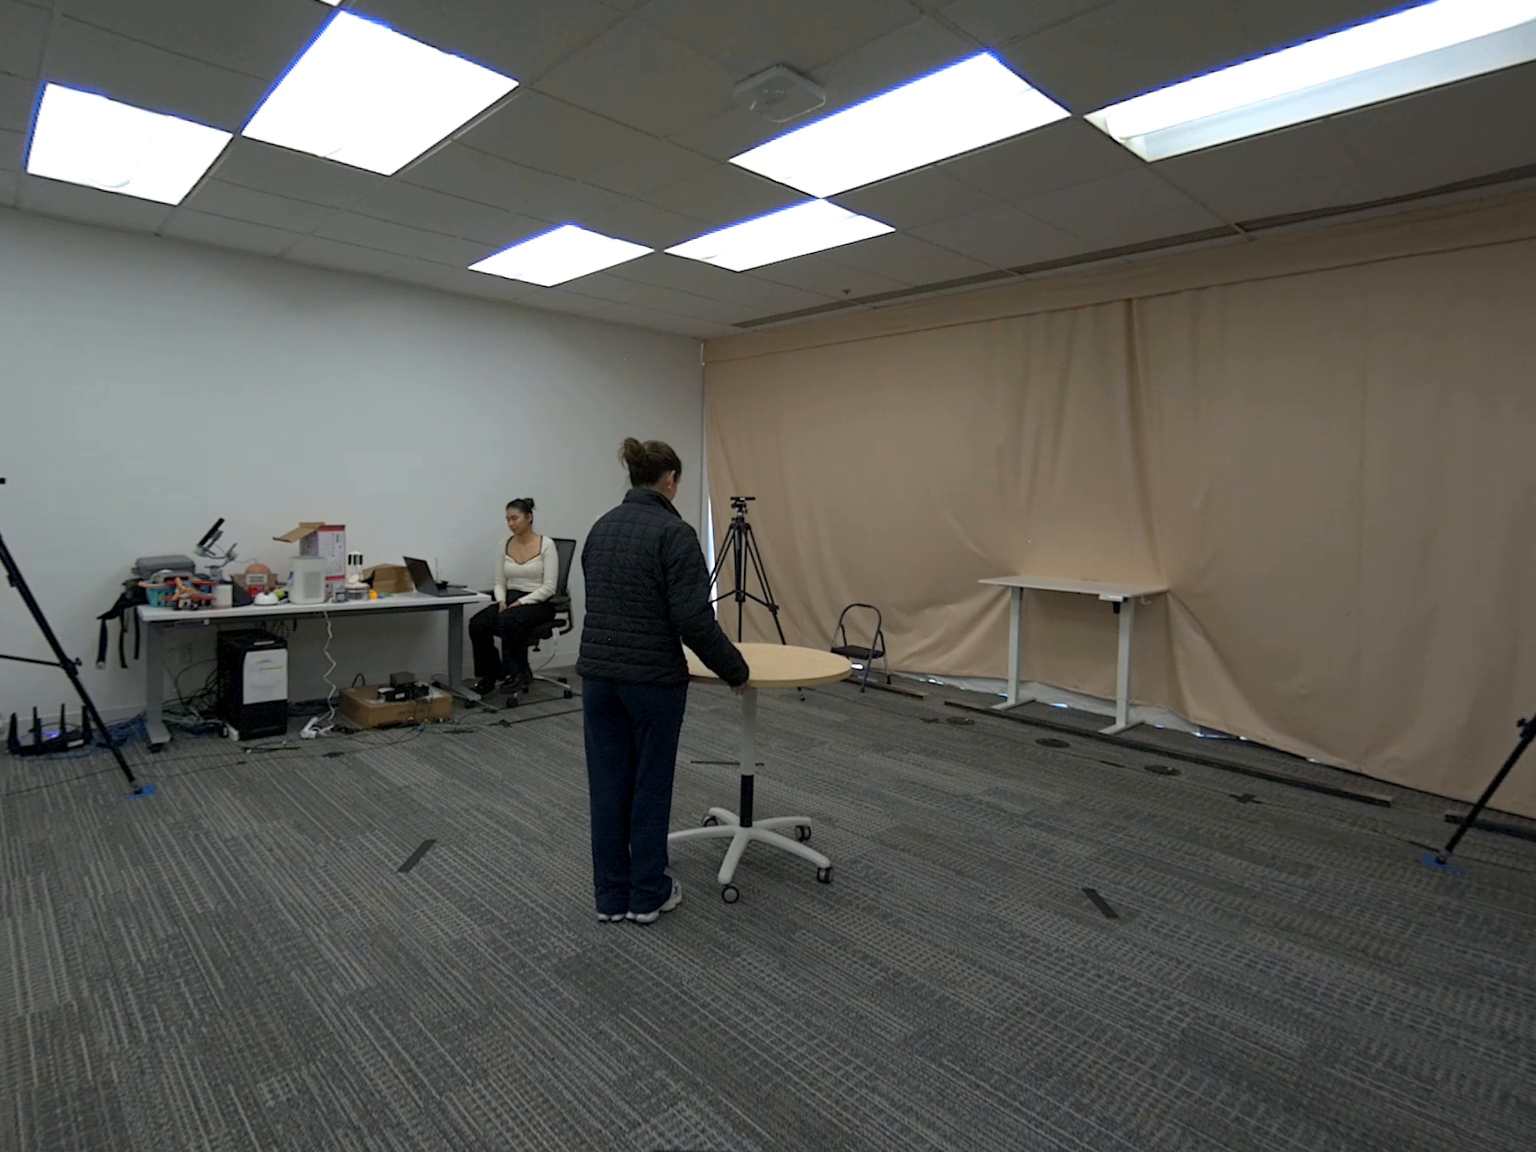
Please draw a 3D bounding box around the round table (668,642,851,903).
[{"bbox_3d":[-0.064,0.703,3.207,0.784,0.784,0.788,1,4,-1],"label":"round table"}]
